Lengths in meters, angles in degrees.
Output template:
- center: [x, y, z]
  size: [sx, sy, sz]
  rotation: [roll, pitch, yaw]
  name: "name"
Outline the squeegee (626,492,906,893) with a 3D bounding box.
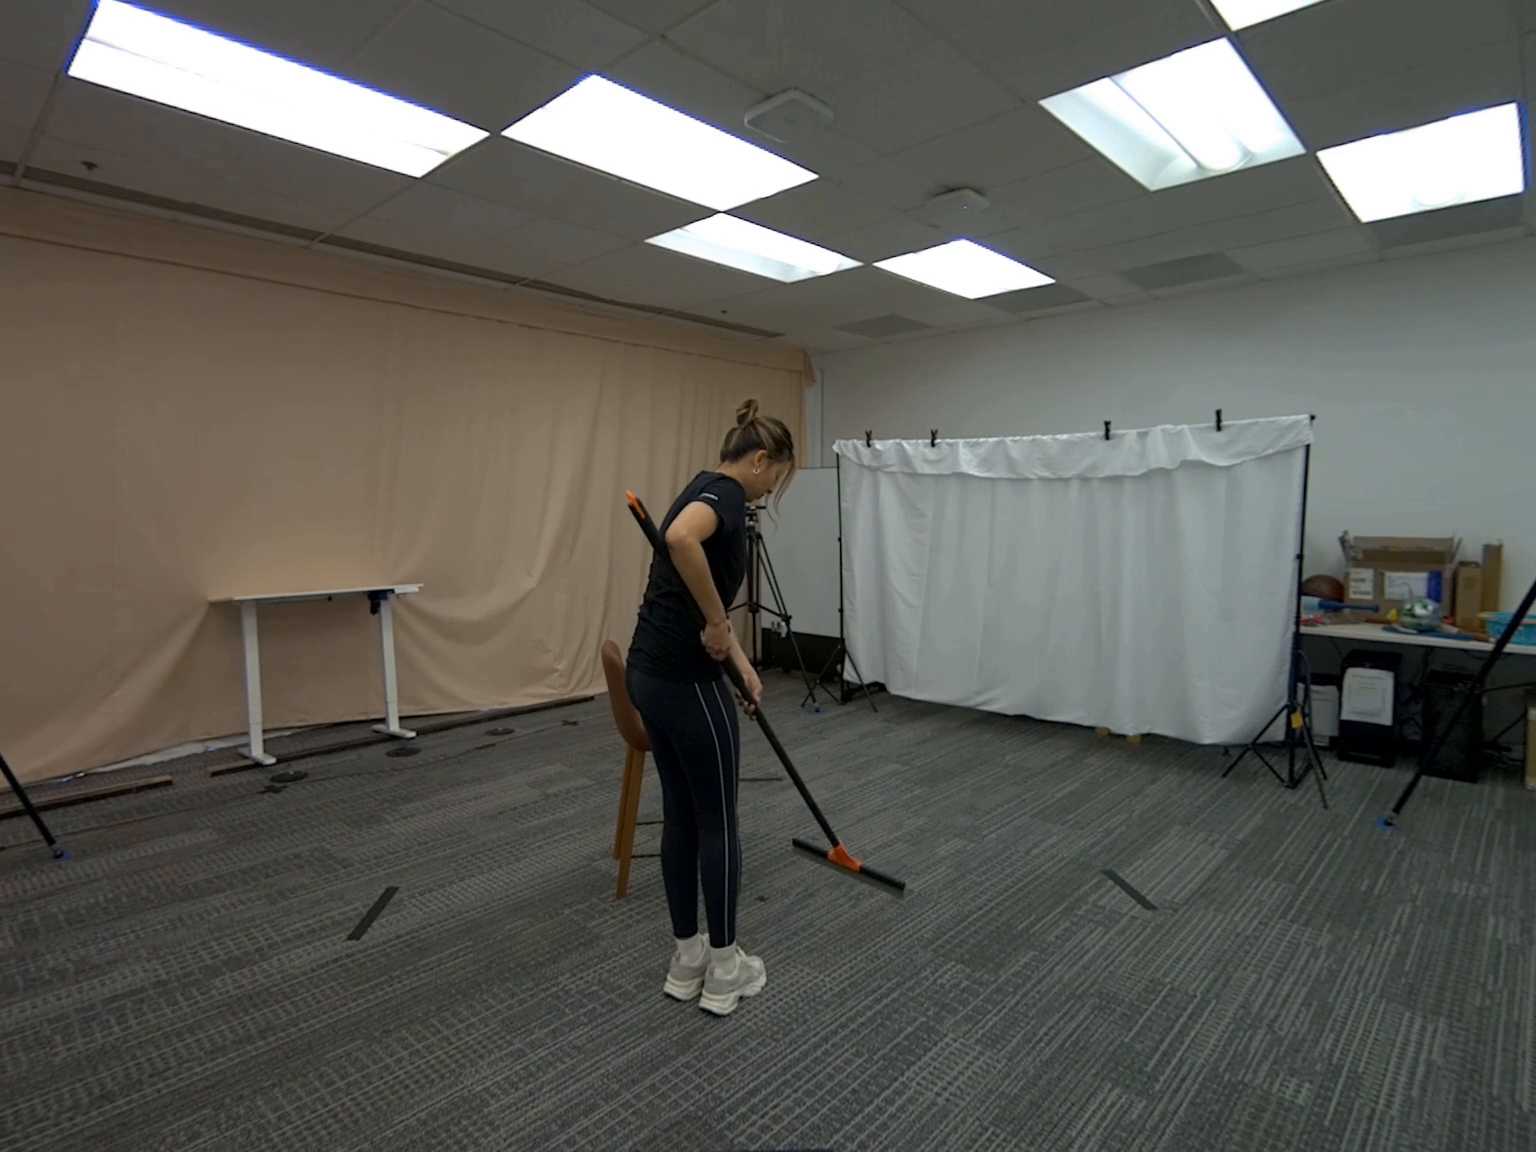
- center: [-0.007, 0.394, 2.334]
  size: [0.452, 1.494, 0.053]
  rotation: [7, 46, 40]
  name: "squeegee"
